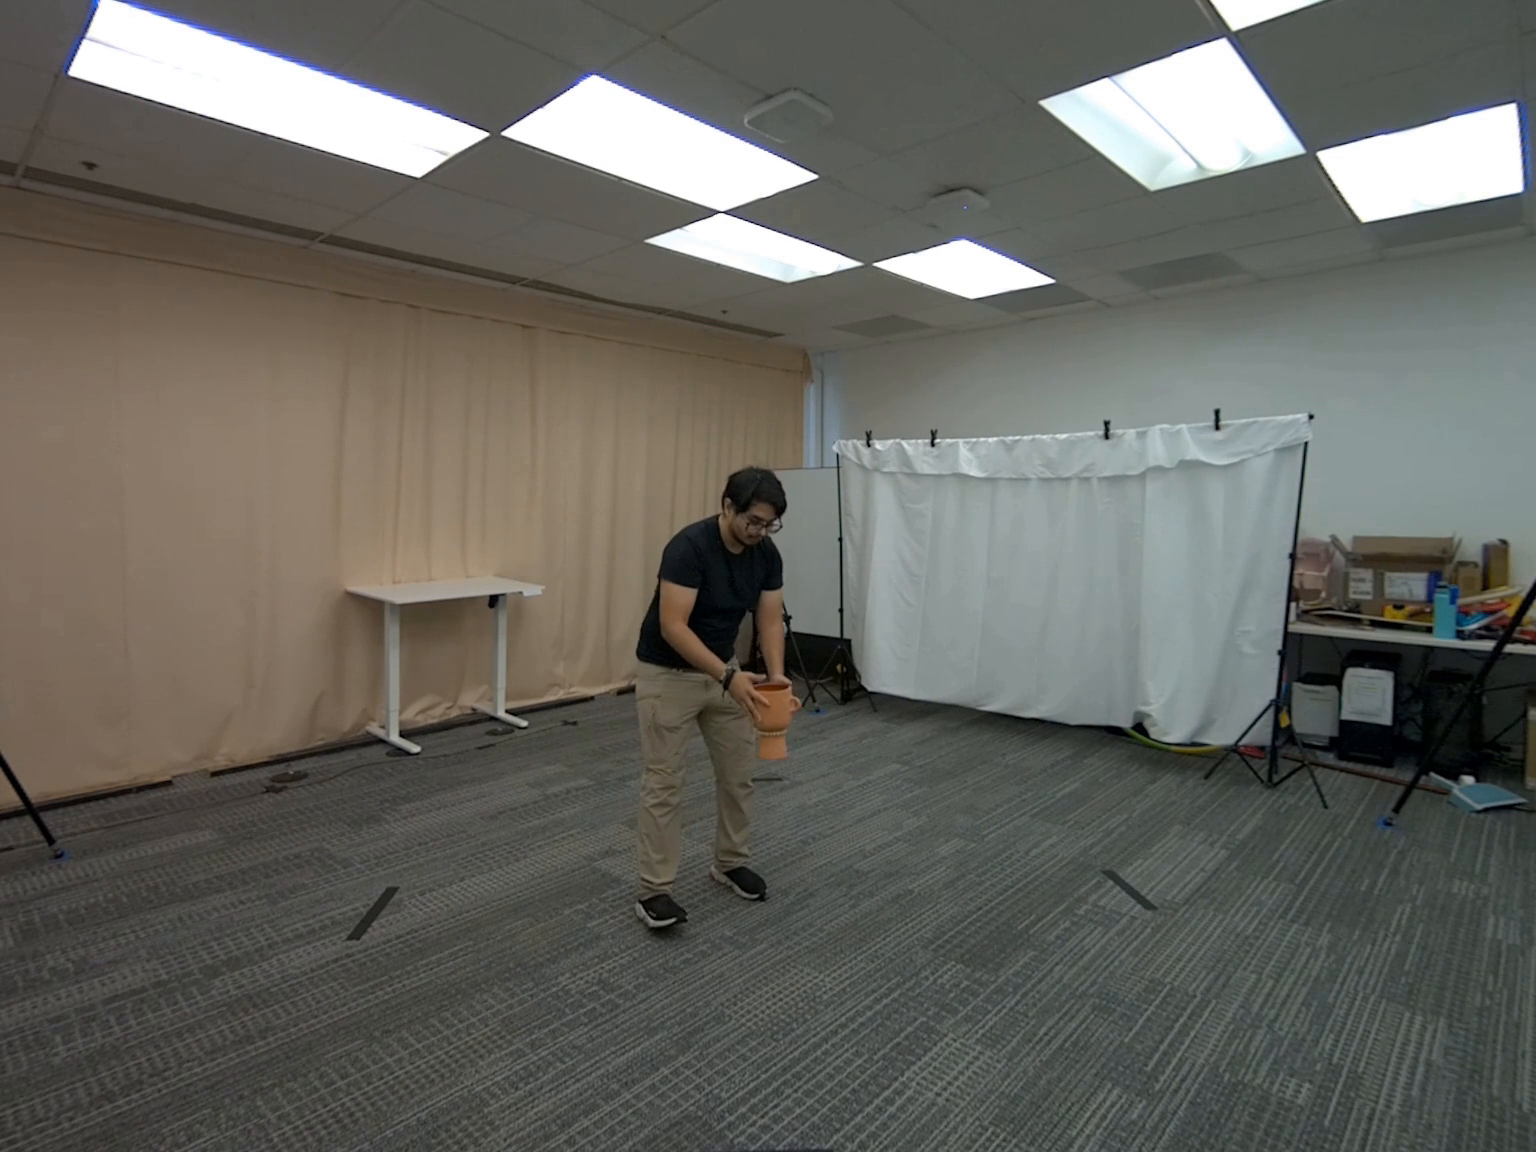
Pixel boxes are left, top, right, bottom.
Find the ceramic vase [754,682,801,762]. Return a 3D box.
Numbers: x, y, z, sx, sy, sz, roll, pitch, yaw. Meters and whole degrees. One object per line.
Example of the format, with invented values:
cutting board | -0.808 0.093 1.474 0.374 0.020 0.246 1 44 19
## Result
ceramic vase | 0.012 0.467 2.667 0.131 0.219 0.163 -4 3 -29
